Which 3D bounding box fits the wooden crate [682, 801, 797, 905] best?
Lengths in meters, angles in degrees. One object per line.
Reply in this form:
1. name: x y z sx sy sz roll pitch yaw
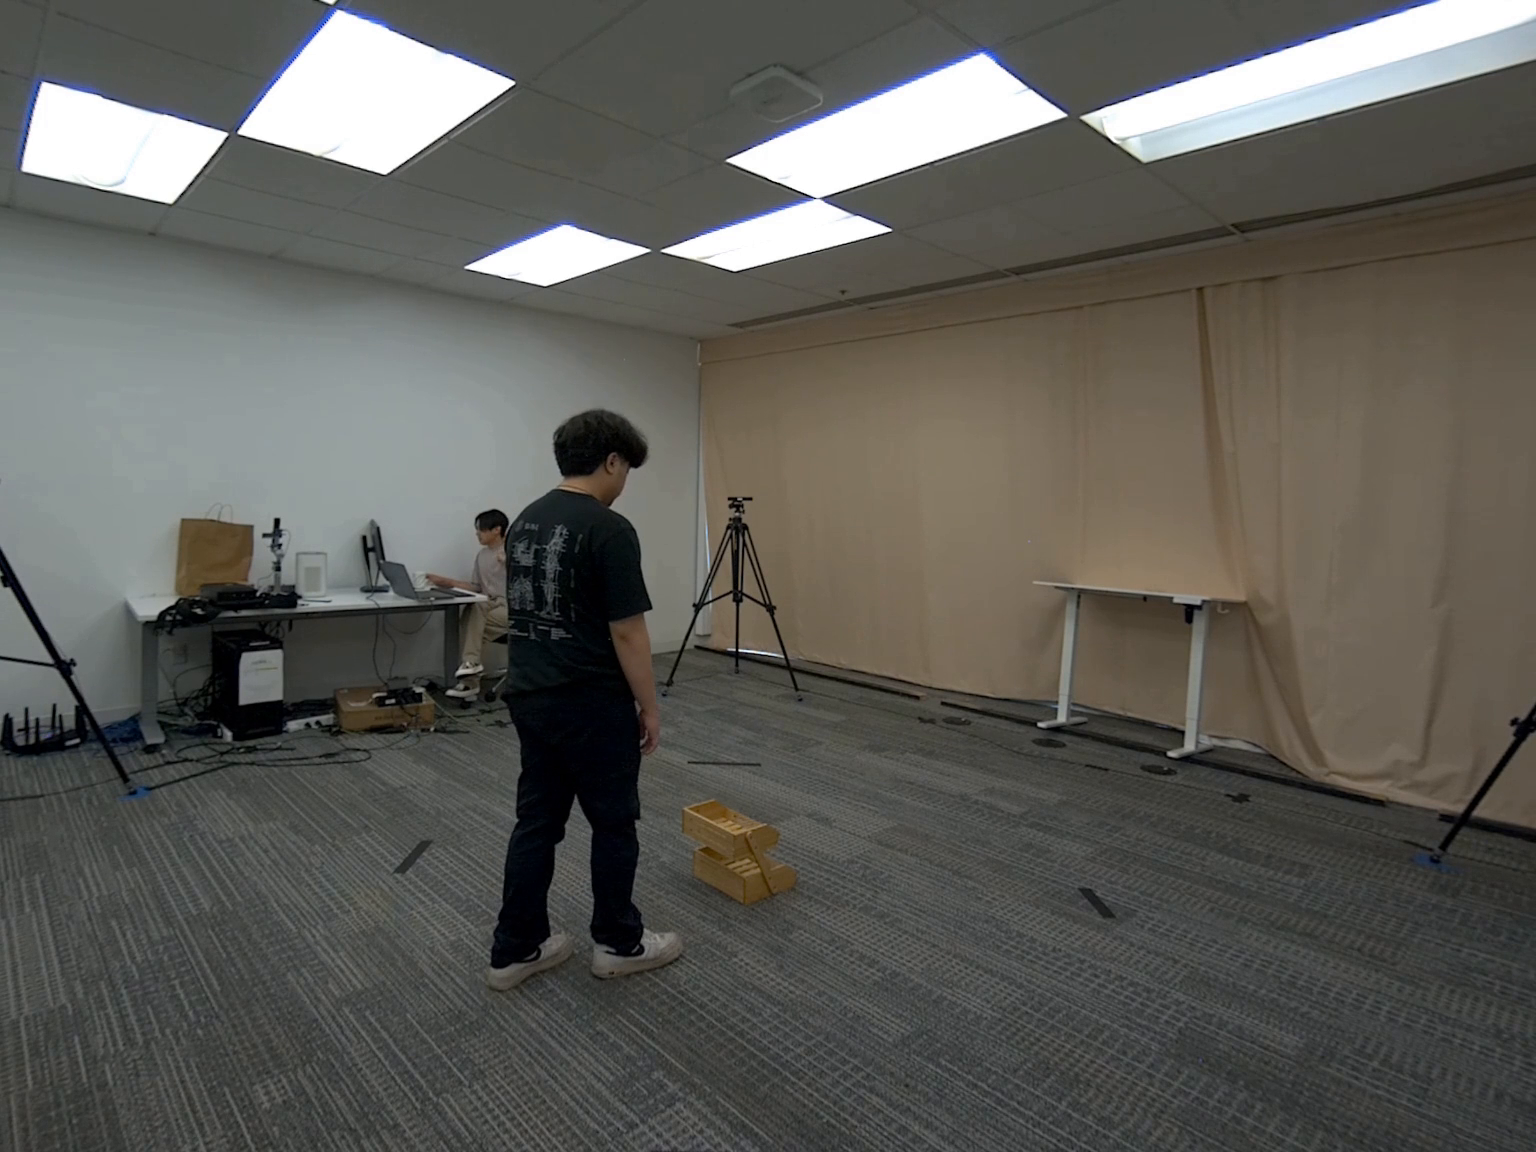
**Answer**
1. wooden crate: -0.107 0.978 3.053 0.295 0.272 0.333 -4 7 -41
